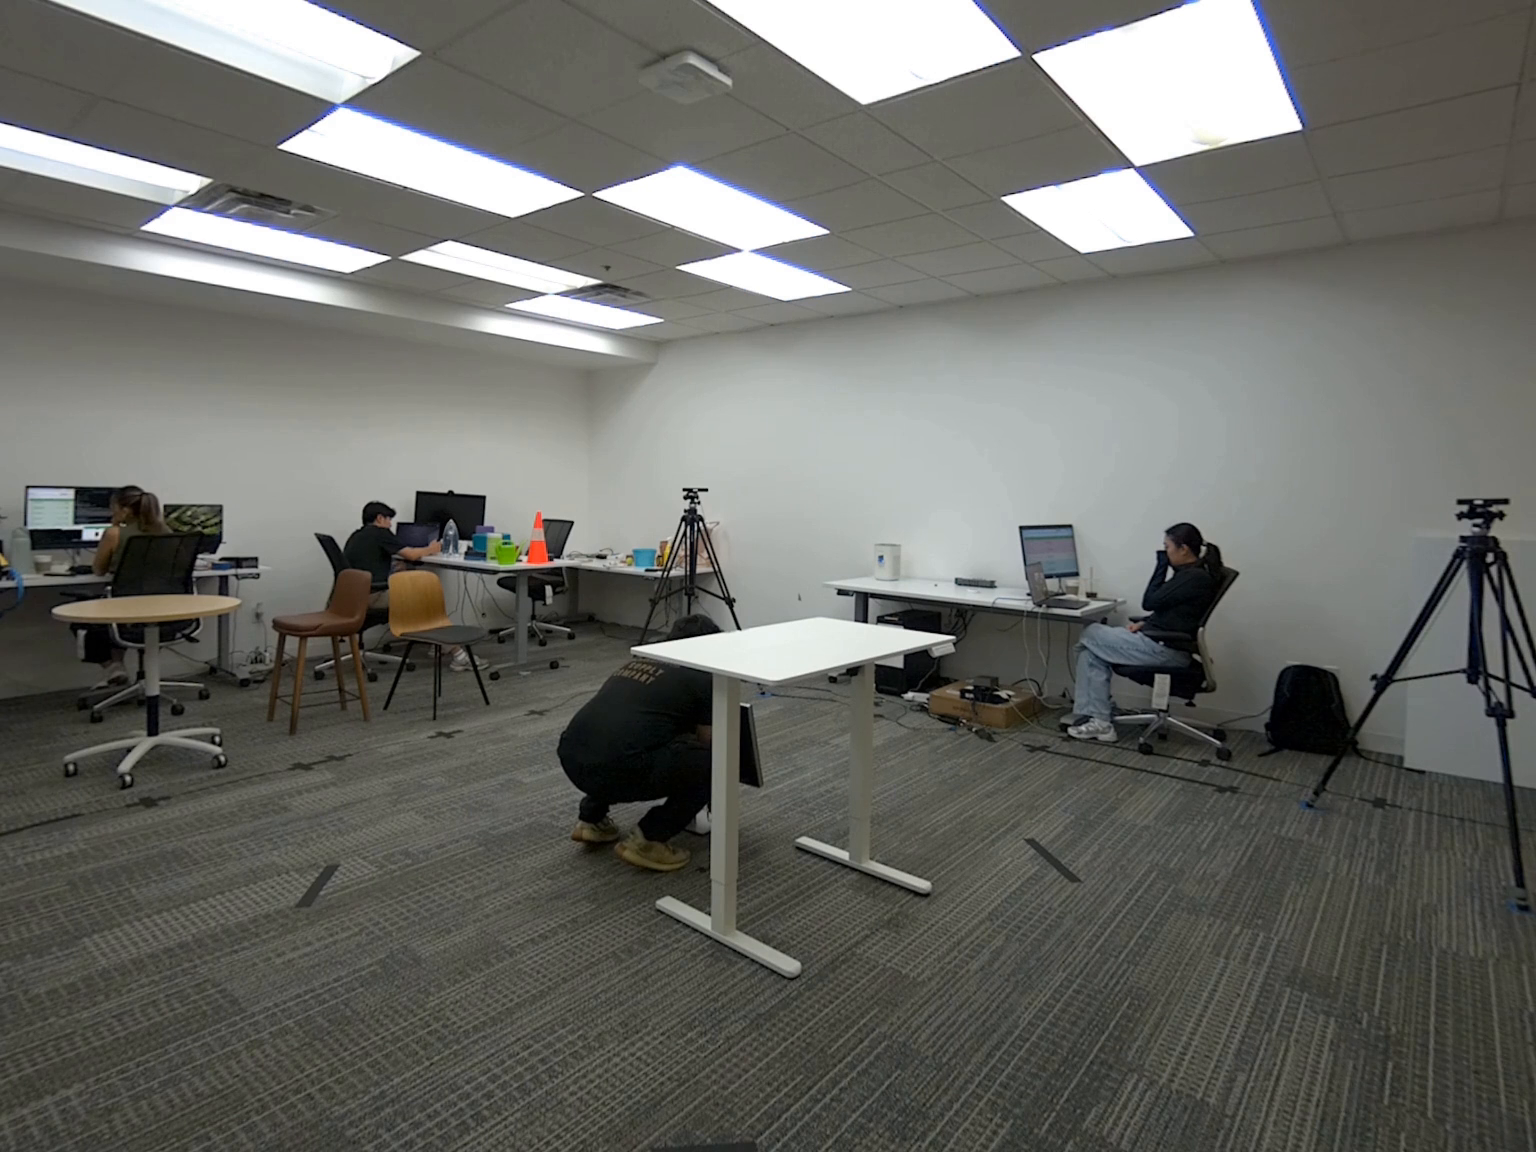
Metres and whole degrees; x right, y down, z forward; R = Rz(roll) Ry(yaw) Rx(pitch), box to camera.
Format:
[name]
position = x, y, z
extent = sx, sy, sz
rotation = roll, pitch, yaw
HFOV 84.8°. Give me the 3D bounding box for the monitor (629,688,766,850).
[monitor]
position = -0.319, 0.759, 3.515
extent = 0.584, 0.549, 0.205
rotation = 4, 10, 37
